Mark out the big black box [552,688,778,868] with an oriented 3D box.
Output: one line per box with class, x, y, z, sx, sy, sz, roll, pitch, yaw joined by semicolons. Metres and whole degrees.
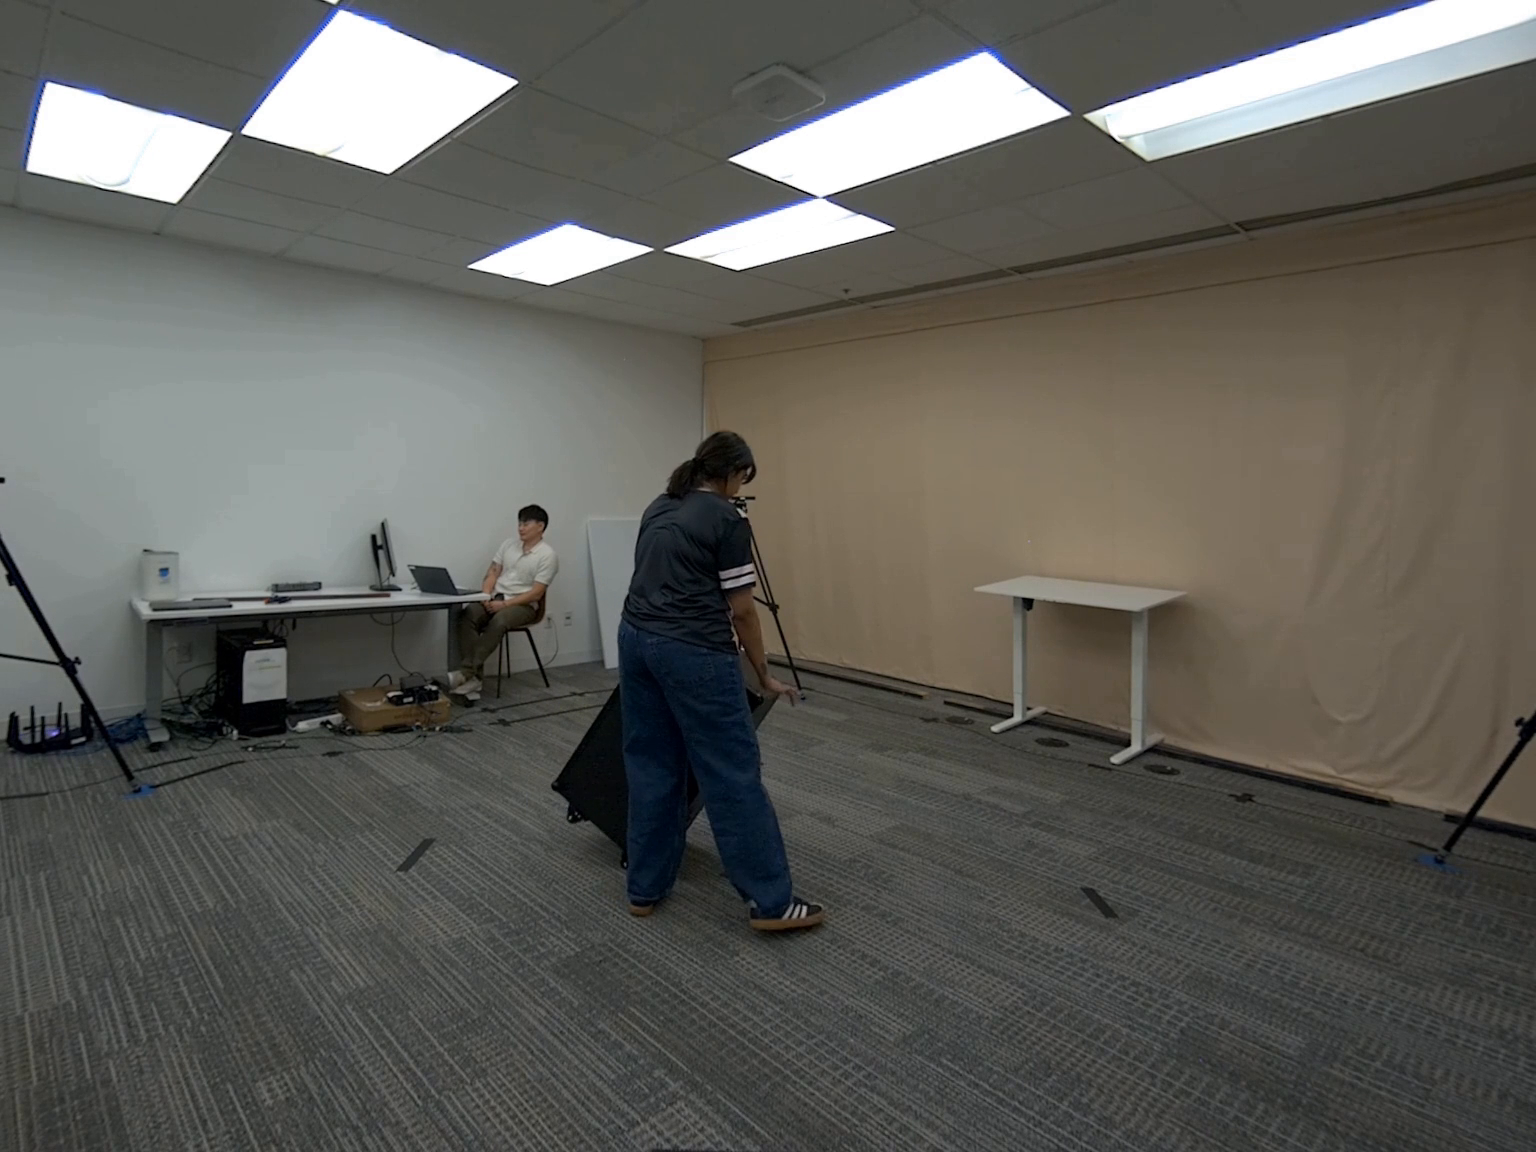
big black box;-0.404;0.646;3.263;0.531;0.867;0.380;36;9;12
